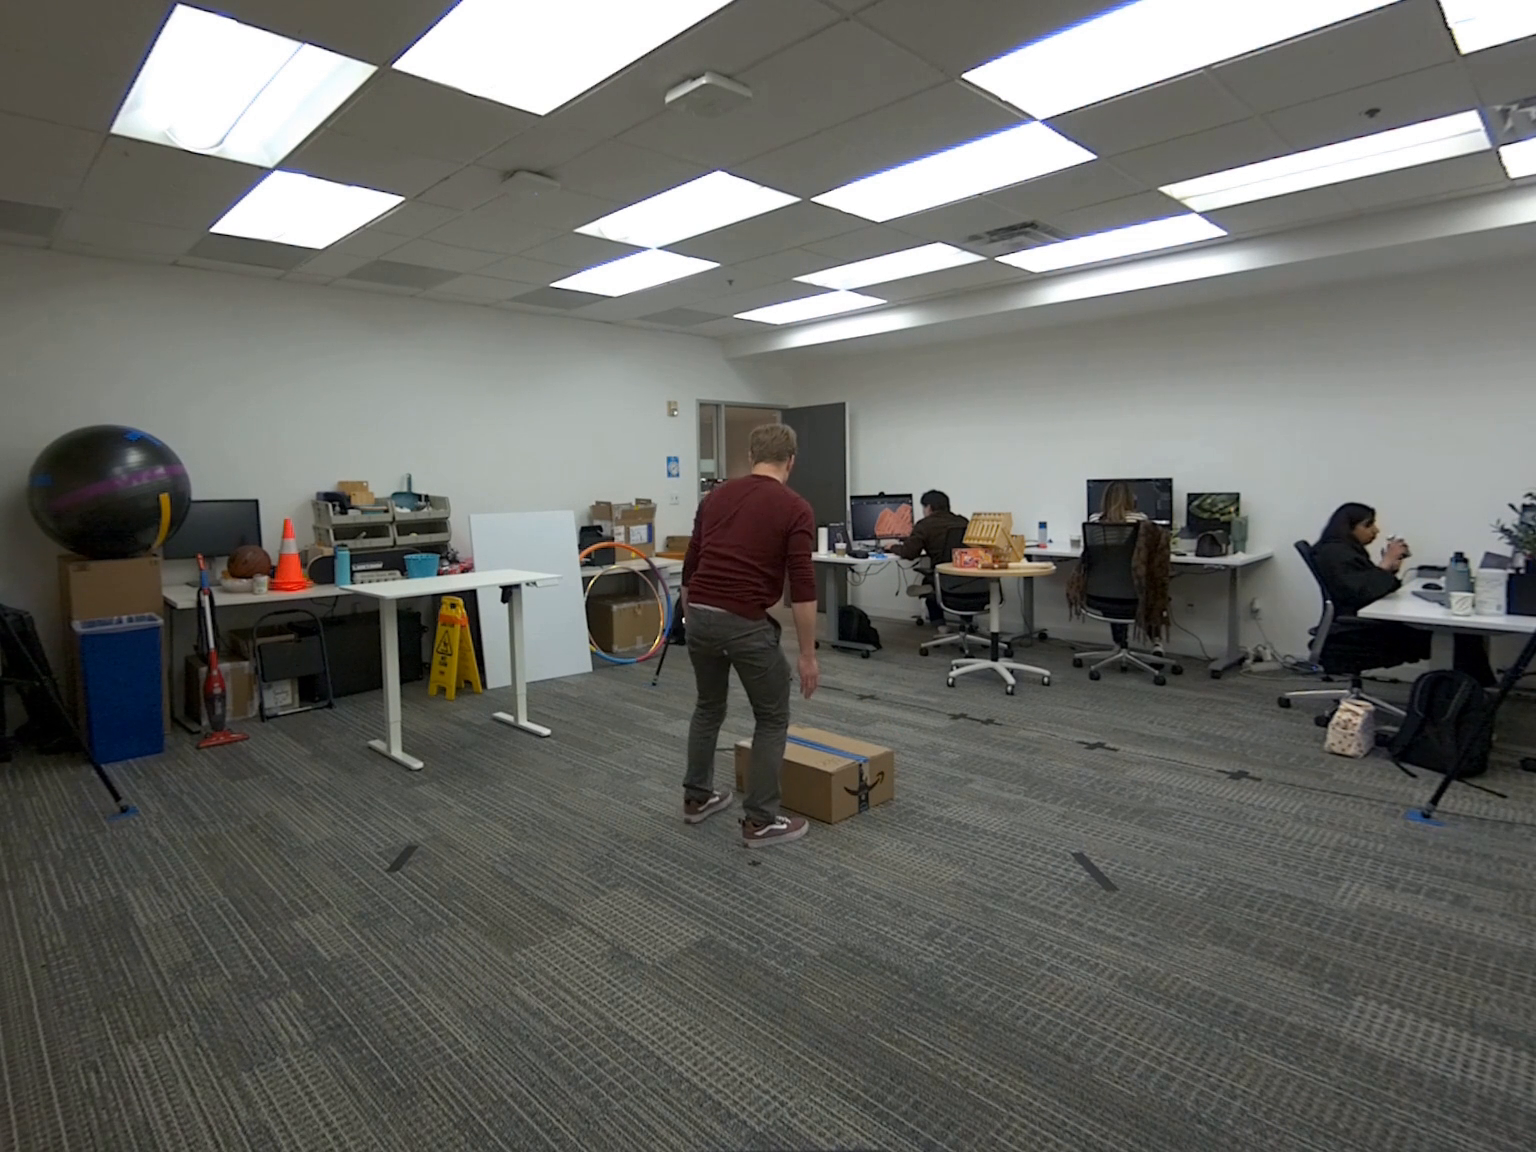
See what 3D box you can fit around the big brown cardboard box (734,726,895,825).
[{"bbox_3d":[0.198,0.856,3.777,0.406,0.232,0.607,-6,9,-44],"label":"big brown cardboard box"}]
